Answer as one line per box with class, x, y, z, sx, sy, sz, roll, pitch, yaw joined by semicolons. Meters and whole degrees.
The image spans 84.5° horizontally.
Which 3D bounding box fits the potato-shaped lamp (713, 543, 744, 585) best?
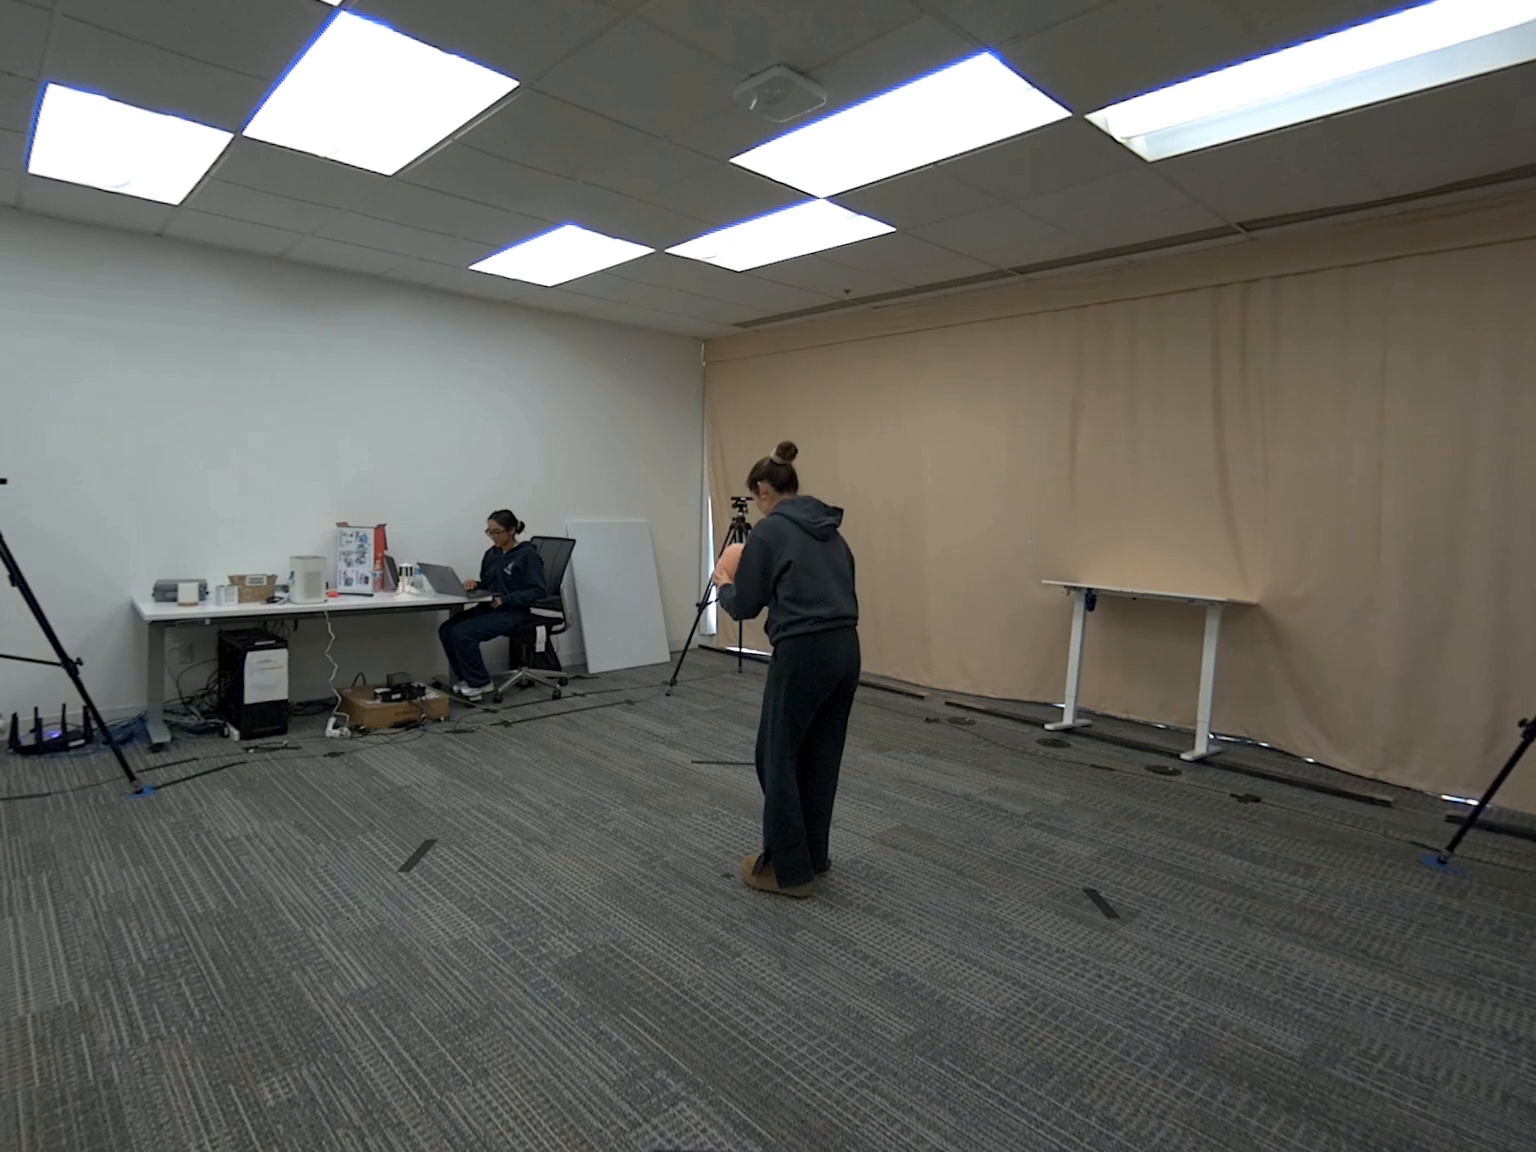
potato-shaped lamp;-0.117;-0.024;3.367;0.176;0.198;0.160;5;-1;43
